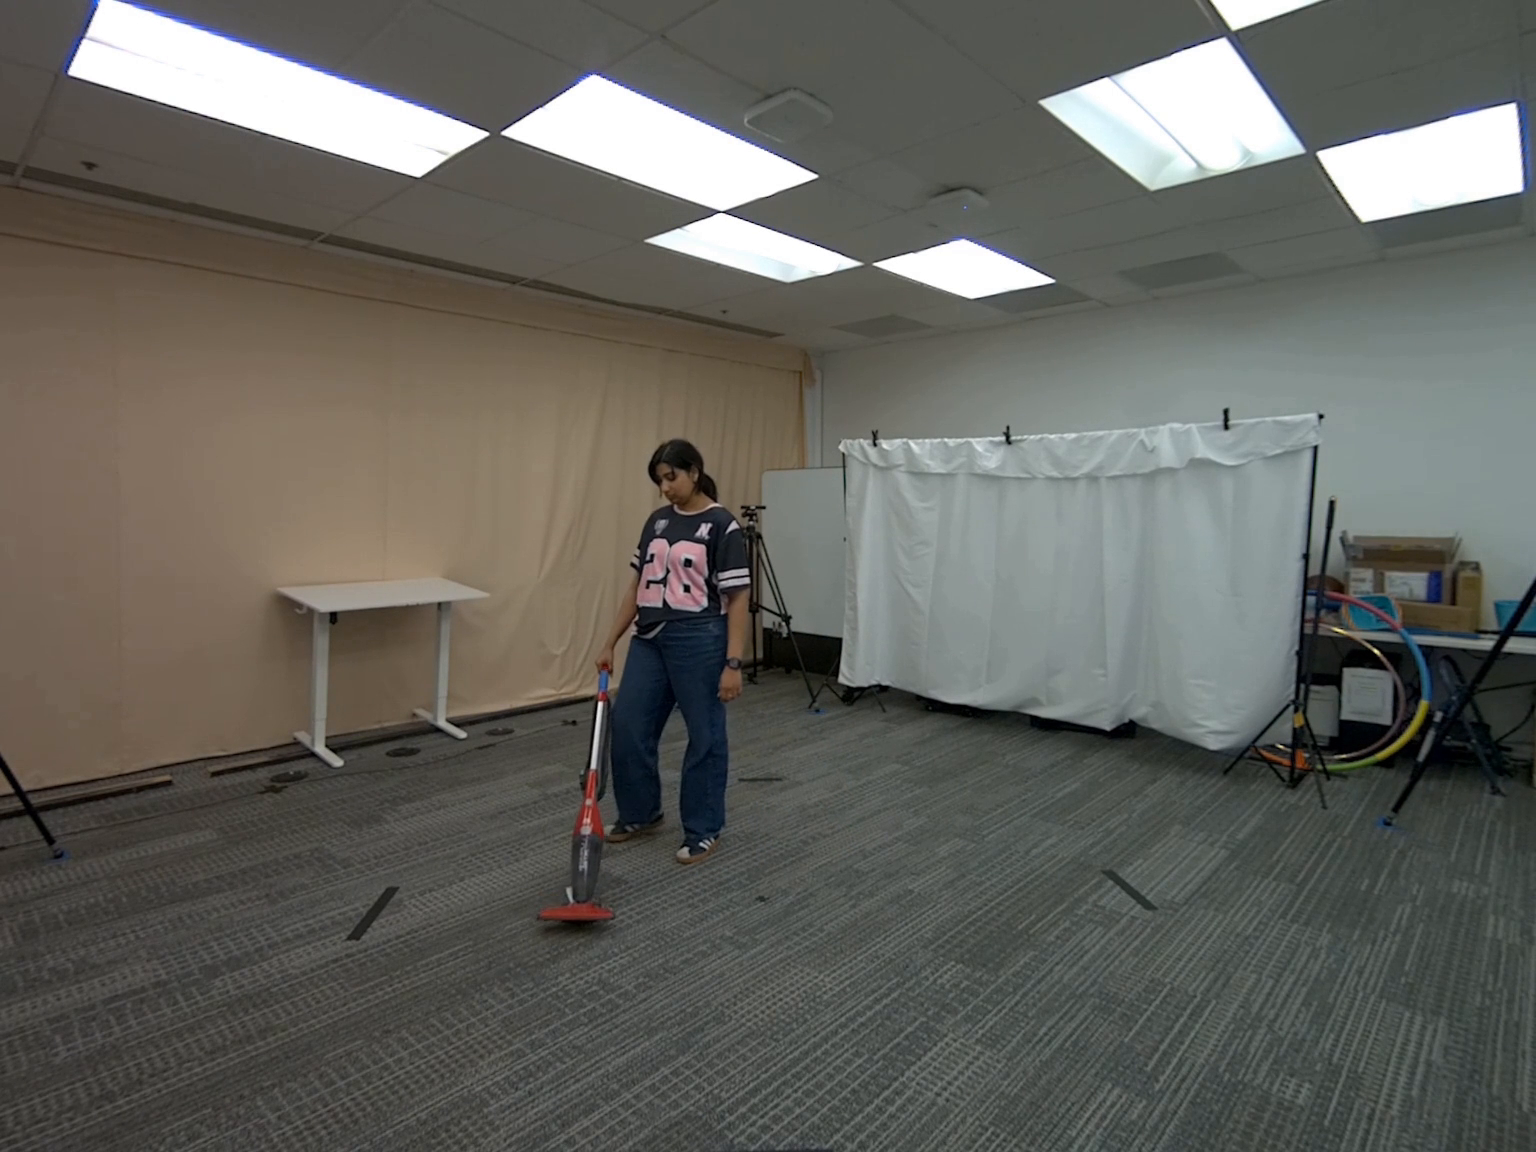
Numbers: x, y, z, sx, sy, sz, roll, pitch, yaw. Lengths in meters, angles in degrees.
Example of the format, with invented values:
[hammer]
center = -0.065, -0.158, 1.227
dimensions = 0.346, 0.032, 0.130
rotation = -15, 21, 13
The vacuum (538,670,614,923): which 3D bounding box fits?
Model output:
[vacuum]
center = -0.640, 0.745, 3.151
dimensions = 0.252, 0.141, 1.069
rotation = 0, 47, -1
